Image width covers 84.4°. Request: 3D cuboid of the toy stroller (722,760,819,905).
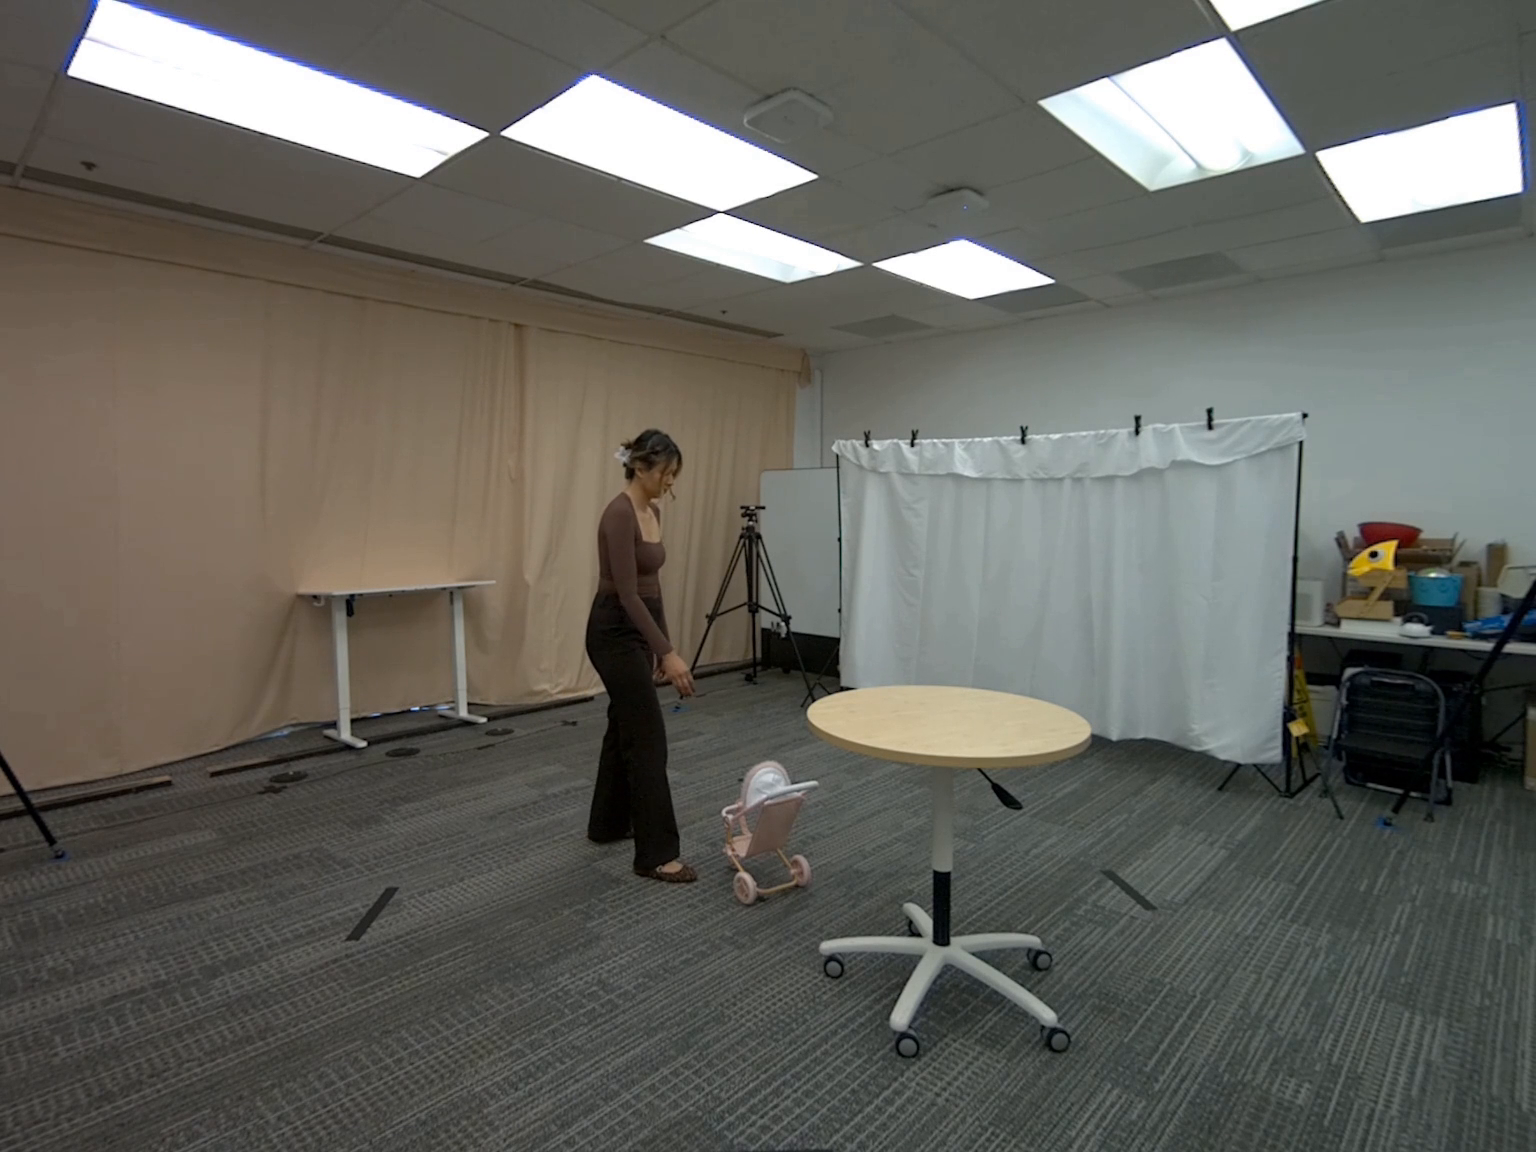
[{"bbox_3d":[-0.016,0.909,3.063,0.274,0.531,0.353,-2,19,-31],"label":"toy stroller"}]
